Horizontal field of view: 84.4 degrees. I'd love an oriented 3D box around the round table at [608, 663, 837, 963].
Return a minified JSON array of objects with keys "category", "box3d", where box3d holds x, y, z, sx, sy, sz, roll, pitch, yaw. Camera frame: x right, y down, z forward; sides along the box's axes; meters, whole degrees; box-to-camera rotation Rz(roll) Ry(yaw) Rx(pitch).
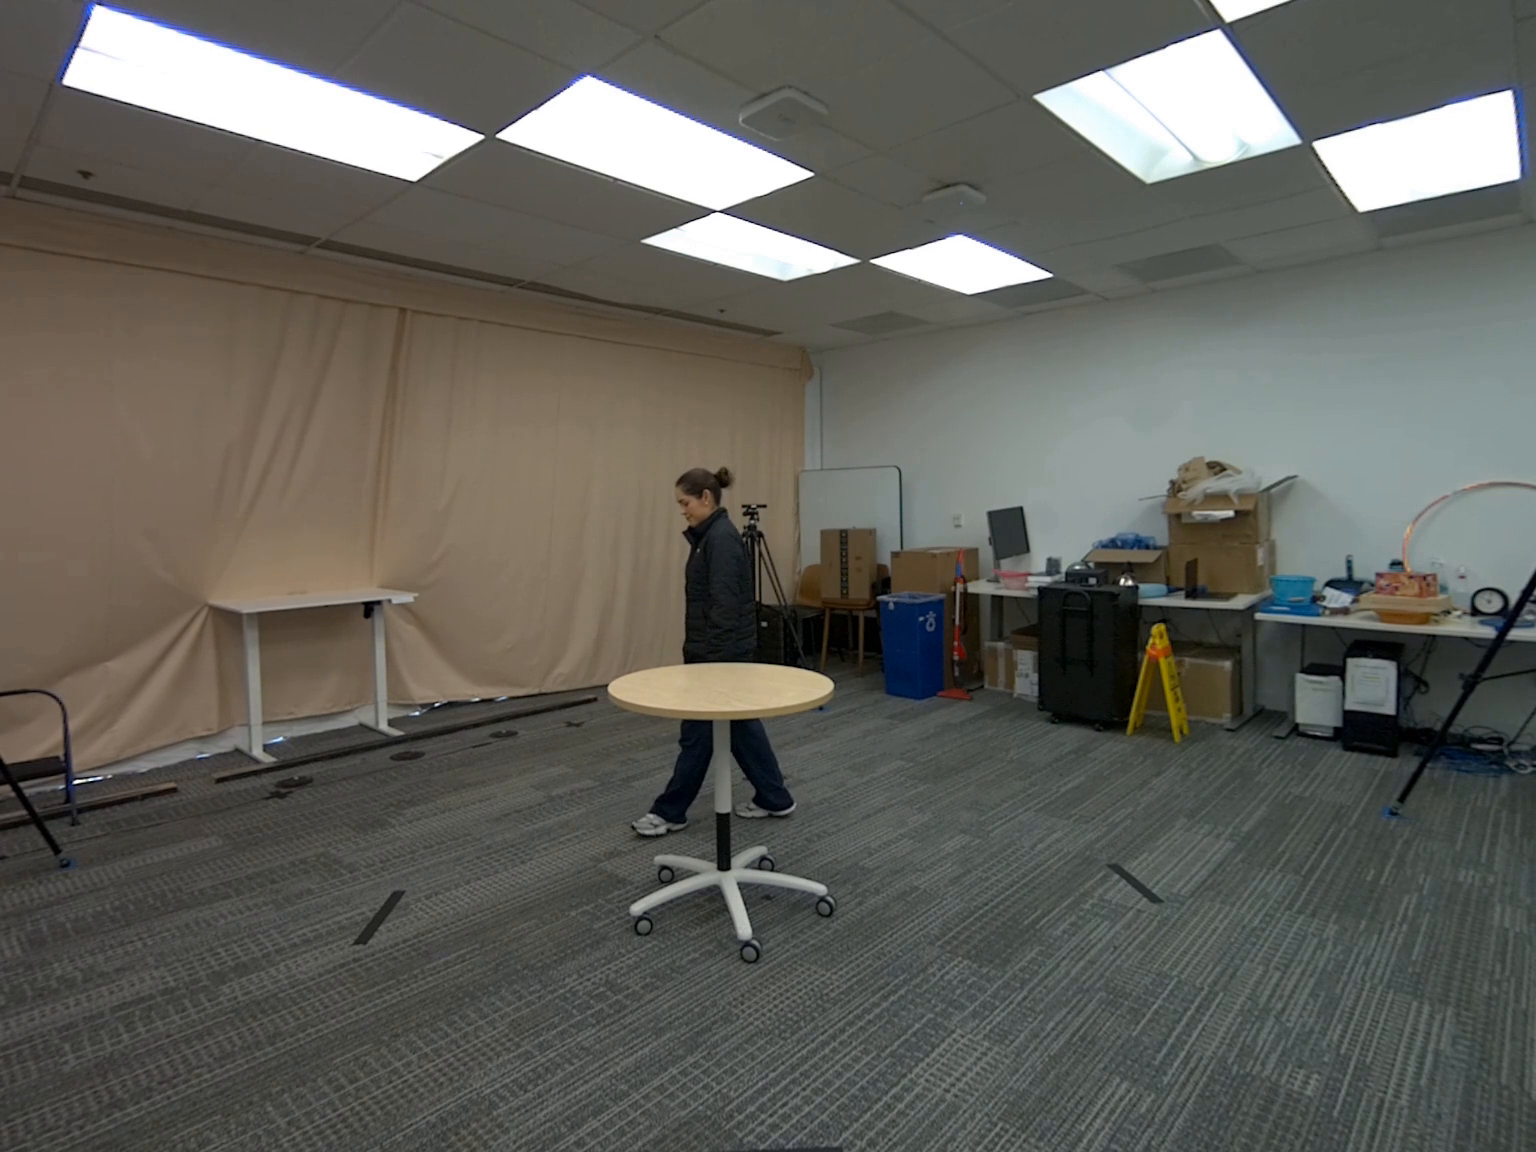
[{"category":"round table","box3d":[-0.148,0.754,2.900,0.784,0.785,0.788,-1,4,-2]}]
